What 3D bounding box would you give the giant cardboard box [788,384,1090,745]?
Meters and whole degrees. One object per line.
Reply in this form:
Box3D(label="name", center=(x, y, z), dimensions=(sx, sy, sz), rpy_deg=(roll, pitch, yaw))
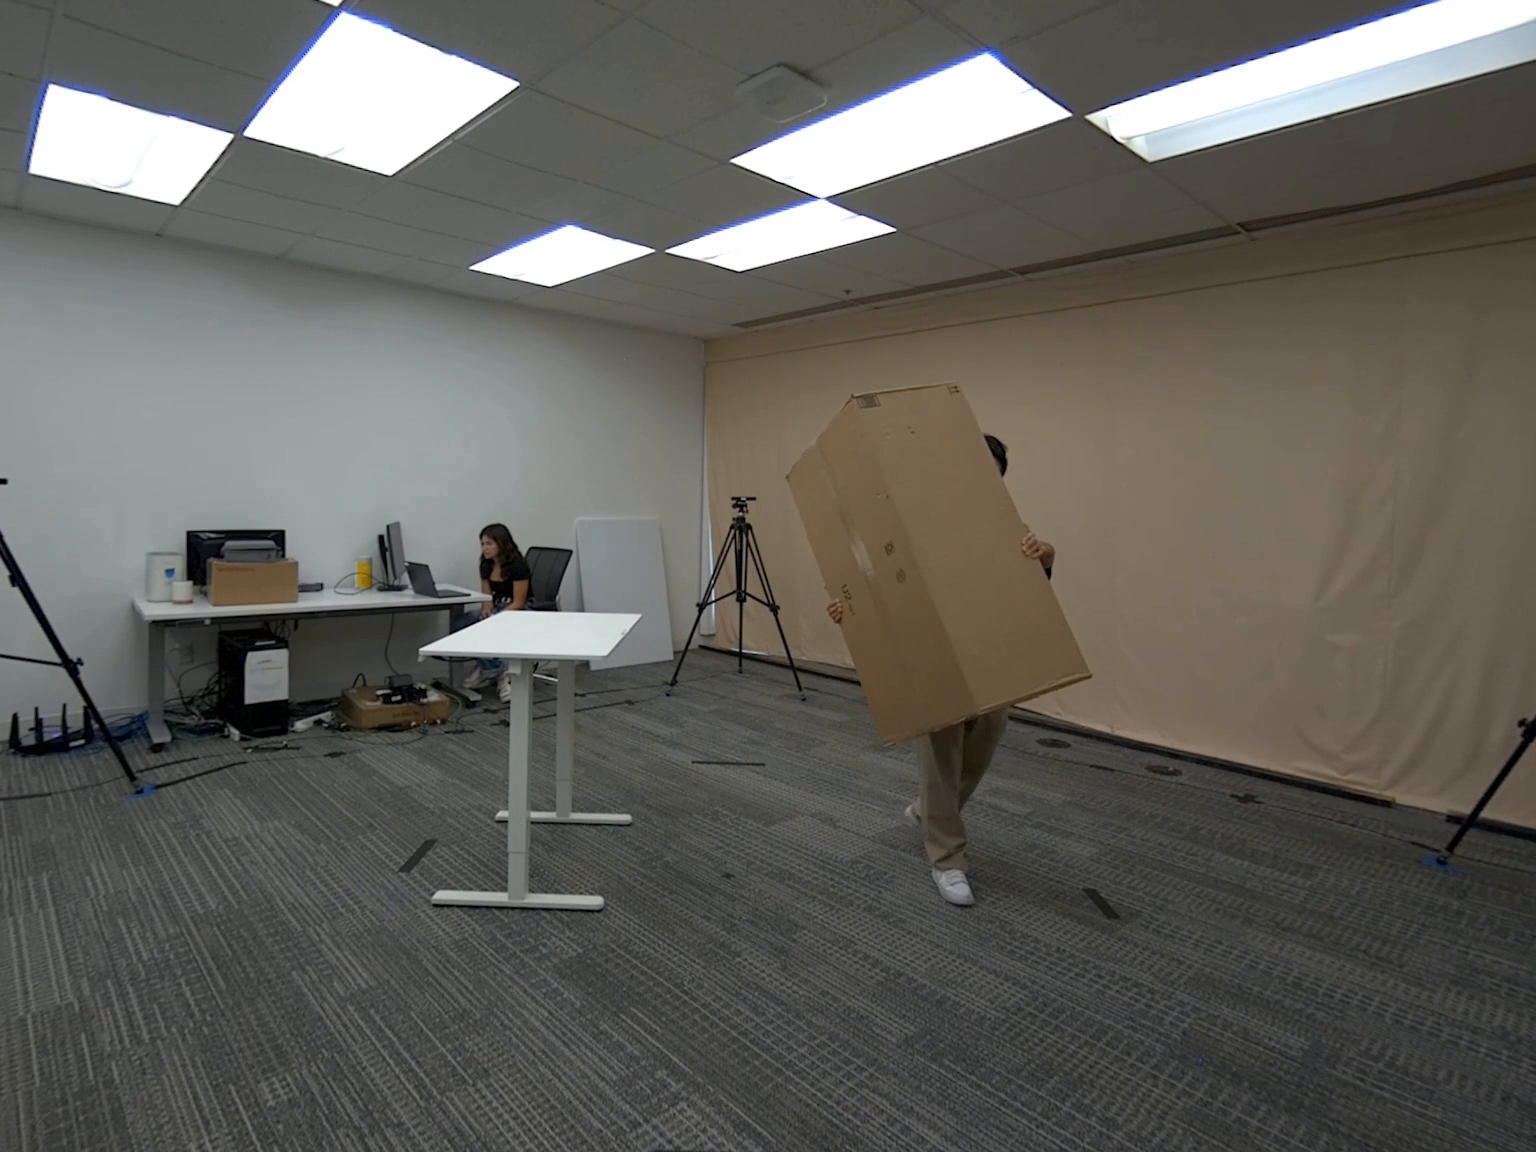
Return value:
Box3D(label="giant cardboard box", center=(0.508, -0.028, 2.778), dimensions=(0.420, 1.041, 0.577), rpy_deg=(-11, -17, -25))
